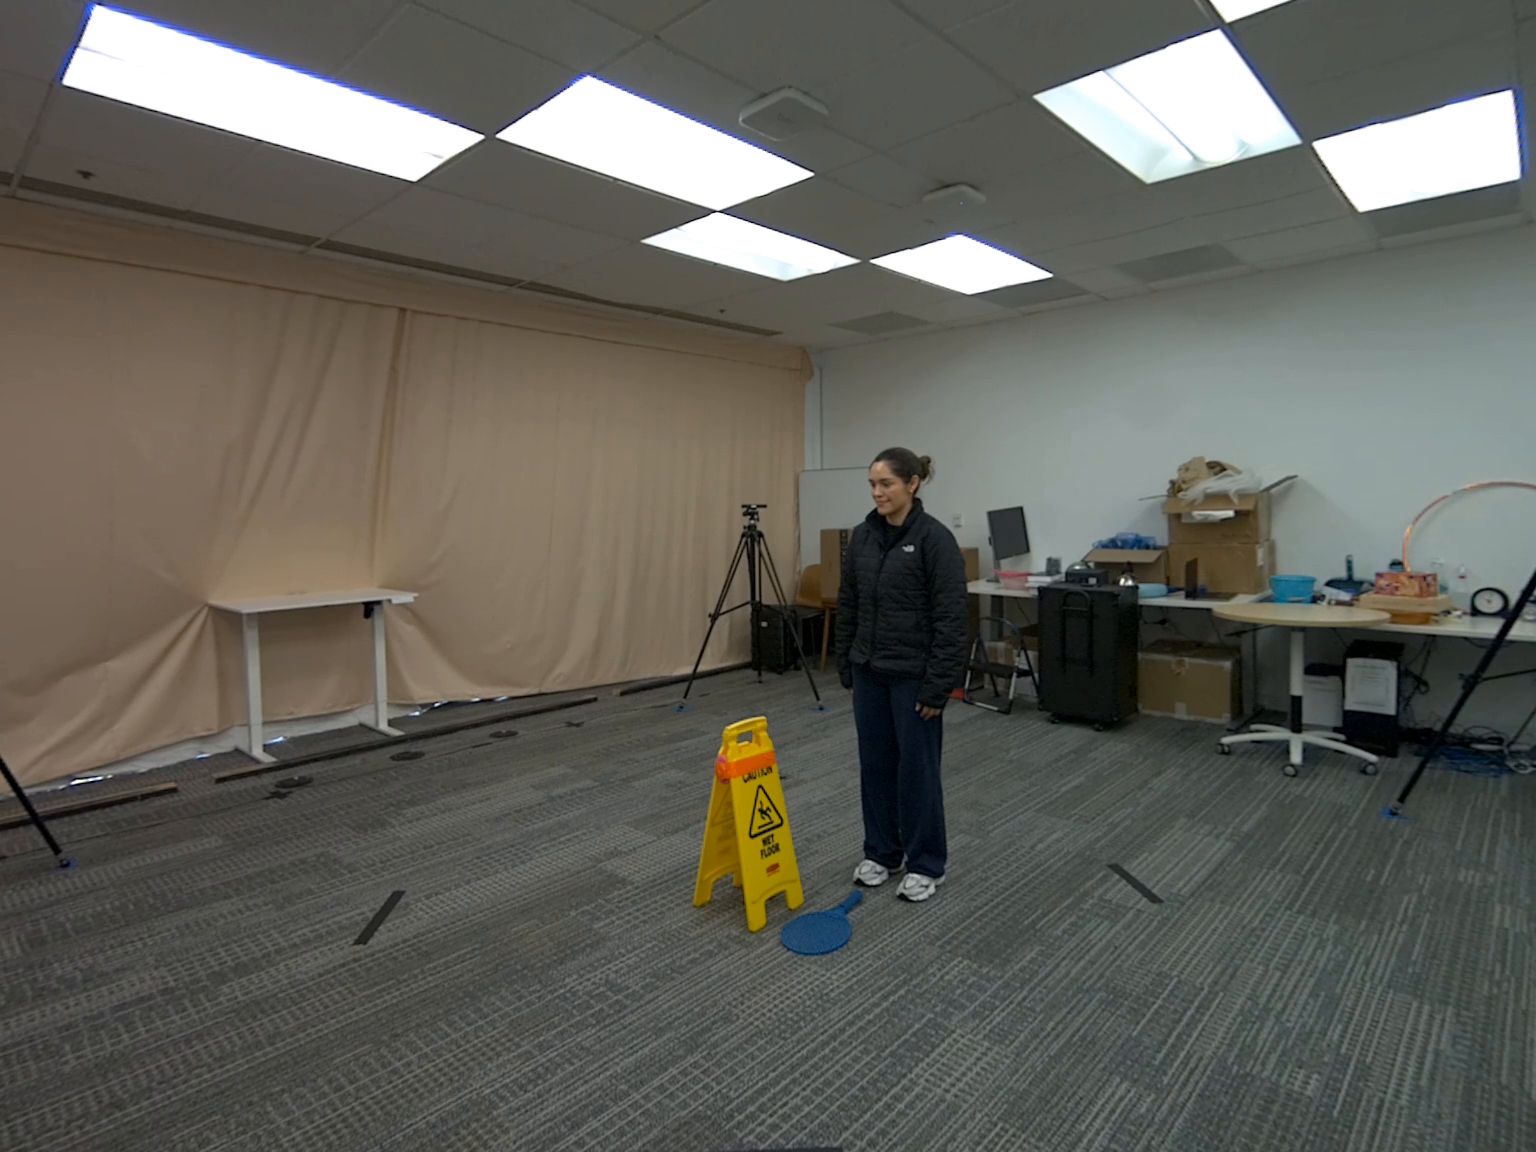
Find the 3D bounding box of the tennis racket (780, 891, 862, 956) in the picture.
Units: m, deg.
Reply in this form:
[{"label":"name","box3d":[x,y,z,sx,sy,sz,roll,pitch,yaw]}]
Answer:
[{"label":"tennis racket","box3d":[0.214,1.141,2.786,0.220,0.031,0.422,3,9,32]}]
